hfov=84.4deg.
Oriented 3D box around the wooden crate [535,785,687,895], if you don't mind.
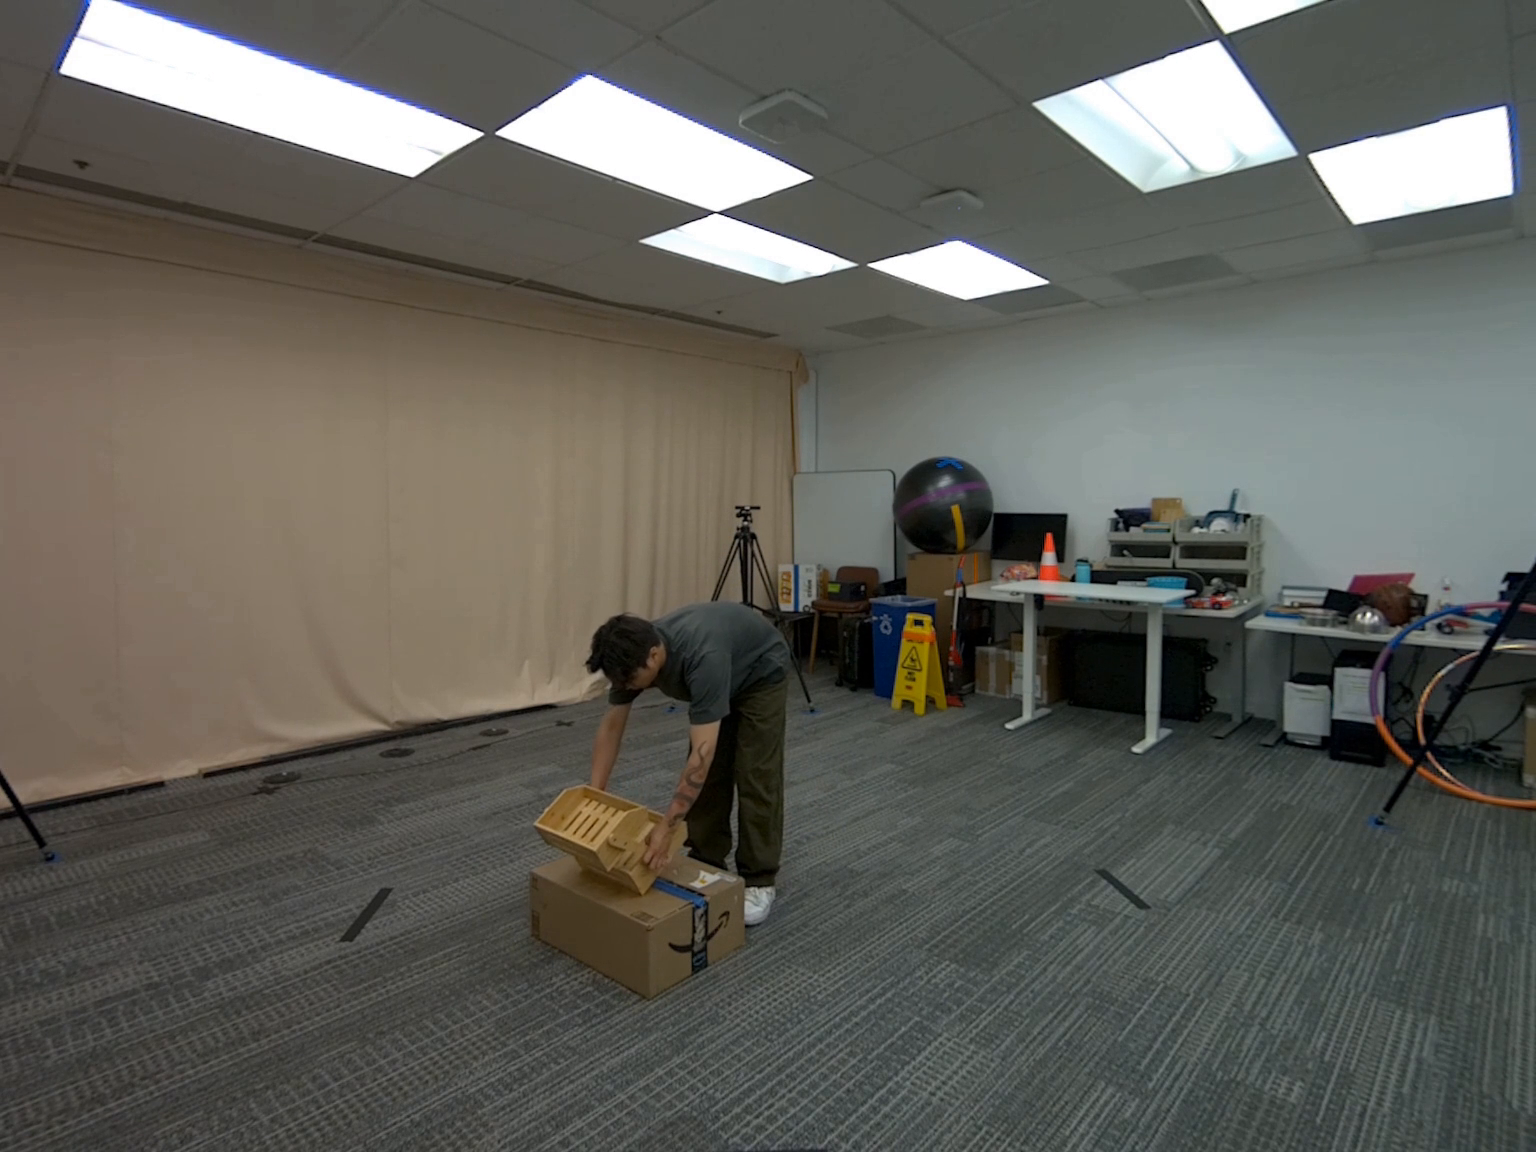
[{"bbox_3d":[-0.489,0.786,2.633,0.335,0.267,0.299,3,37,41],"label":"wooden crate"}]
